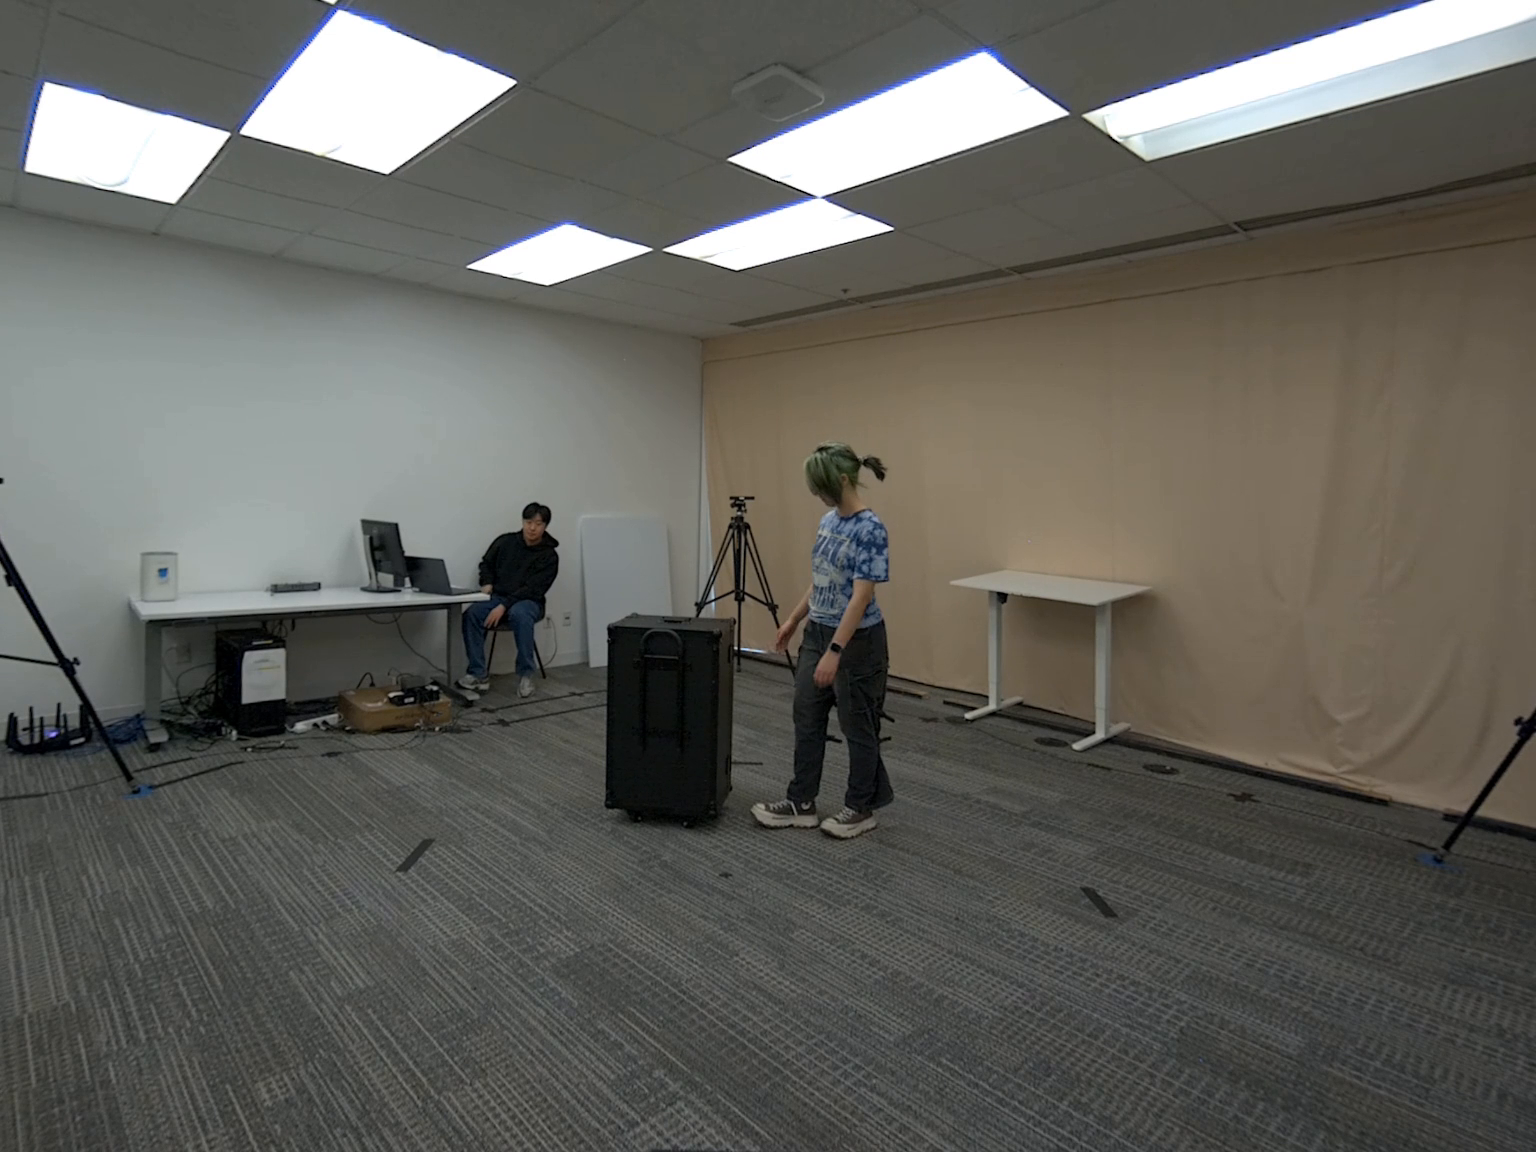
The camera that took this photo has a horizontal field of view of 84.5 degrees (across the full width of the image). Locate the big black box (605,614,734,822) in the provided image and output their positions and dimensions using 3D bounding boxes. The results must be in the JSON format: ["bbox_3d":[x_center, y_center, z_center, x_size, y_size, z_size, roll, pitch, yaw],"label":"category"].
[{"bbox_3d":[-0.418,0.626,3.654,0.526,0.858,0.394,4,5,10],"label":"big black box"}]
